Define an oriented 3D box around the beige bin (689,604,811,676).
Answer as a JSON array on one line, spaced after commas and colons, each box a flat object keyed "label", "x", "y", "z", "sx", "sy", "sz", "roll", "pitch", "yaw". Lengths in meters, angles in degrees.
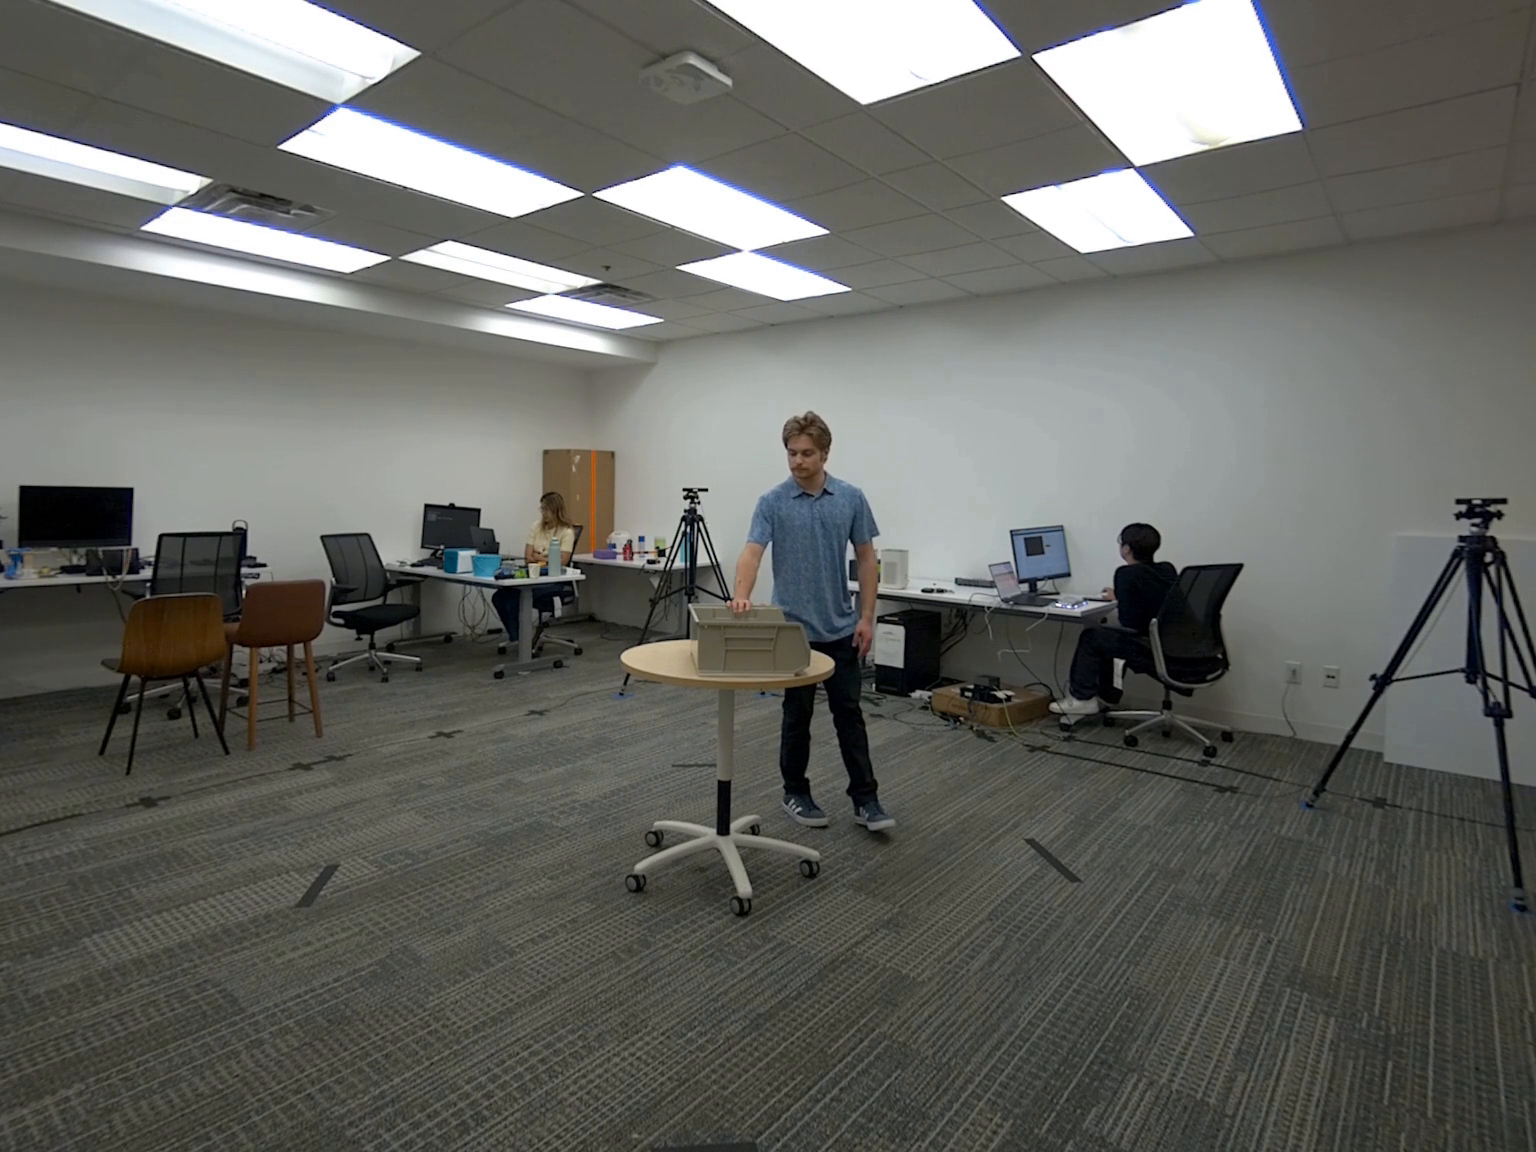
[{"label": "beige bin", "x": -0.089, "y": 0.219, "z": 2.946, "sx": 0.375, "sy": 0.188, "sz": 0.427, "roll": 1, "pitch": 6, "yaw": -7}]
